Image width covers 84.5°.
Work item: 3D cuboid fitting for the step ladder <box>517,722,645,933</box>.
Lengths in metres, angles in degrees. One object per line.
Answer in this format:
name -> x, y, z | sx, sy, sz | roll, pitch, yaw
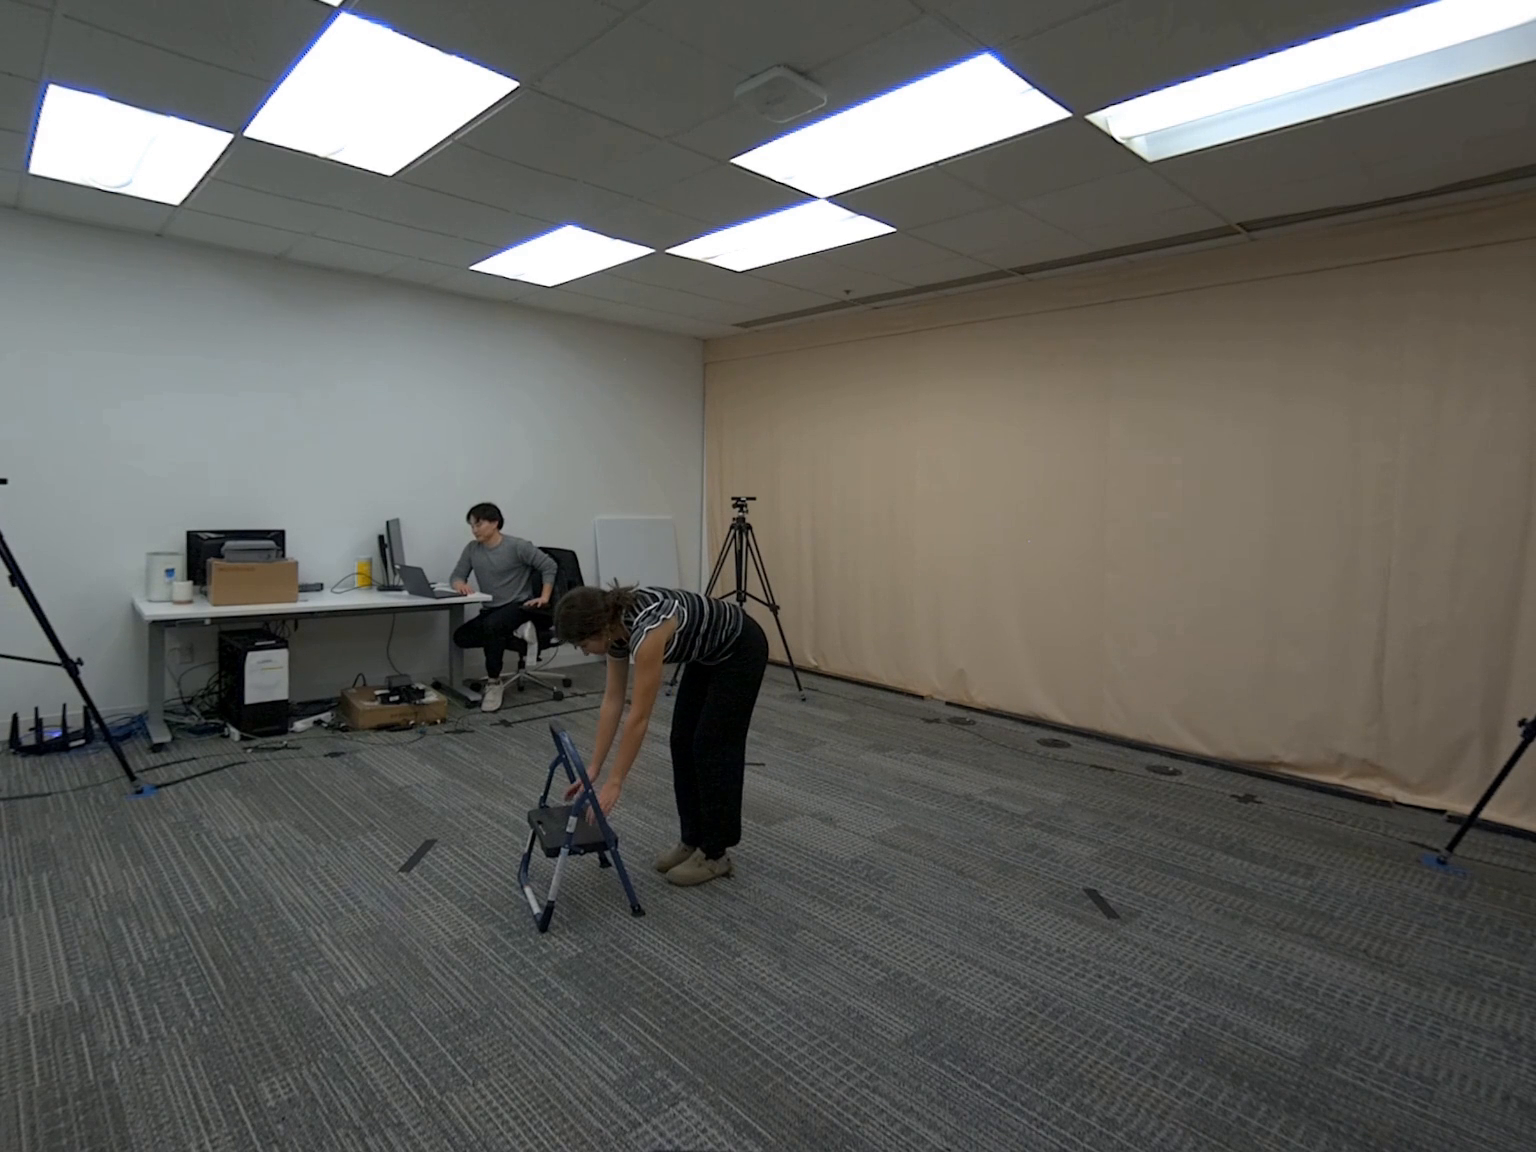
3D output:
step ladder -> -0.658, 0.811, 2.900 | 0.343, 0.604, 0.440 | -1, 4, -26
